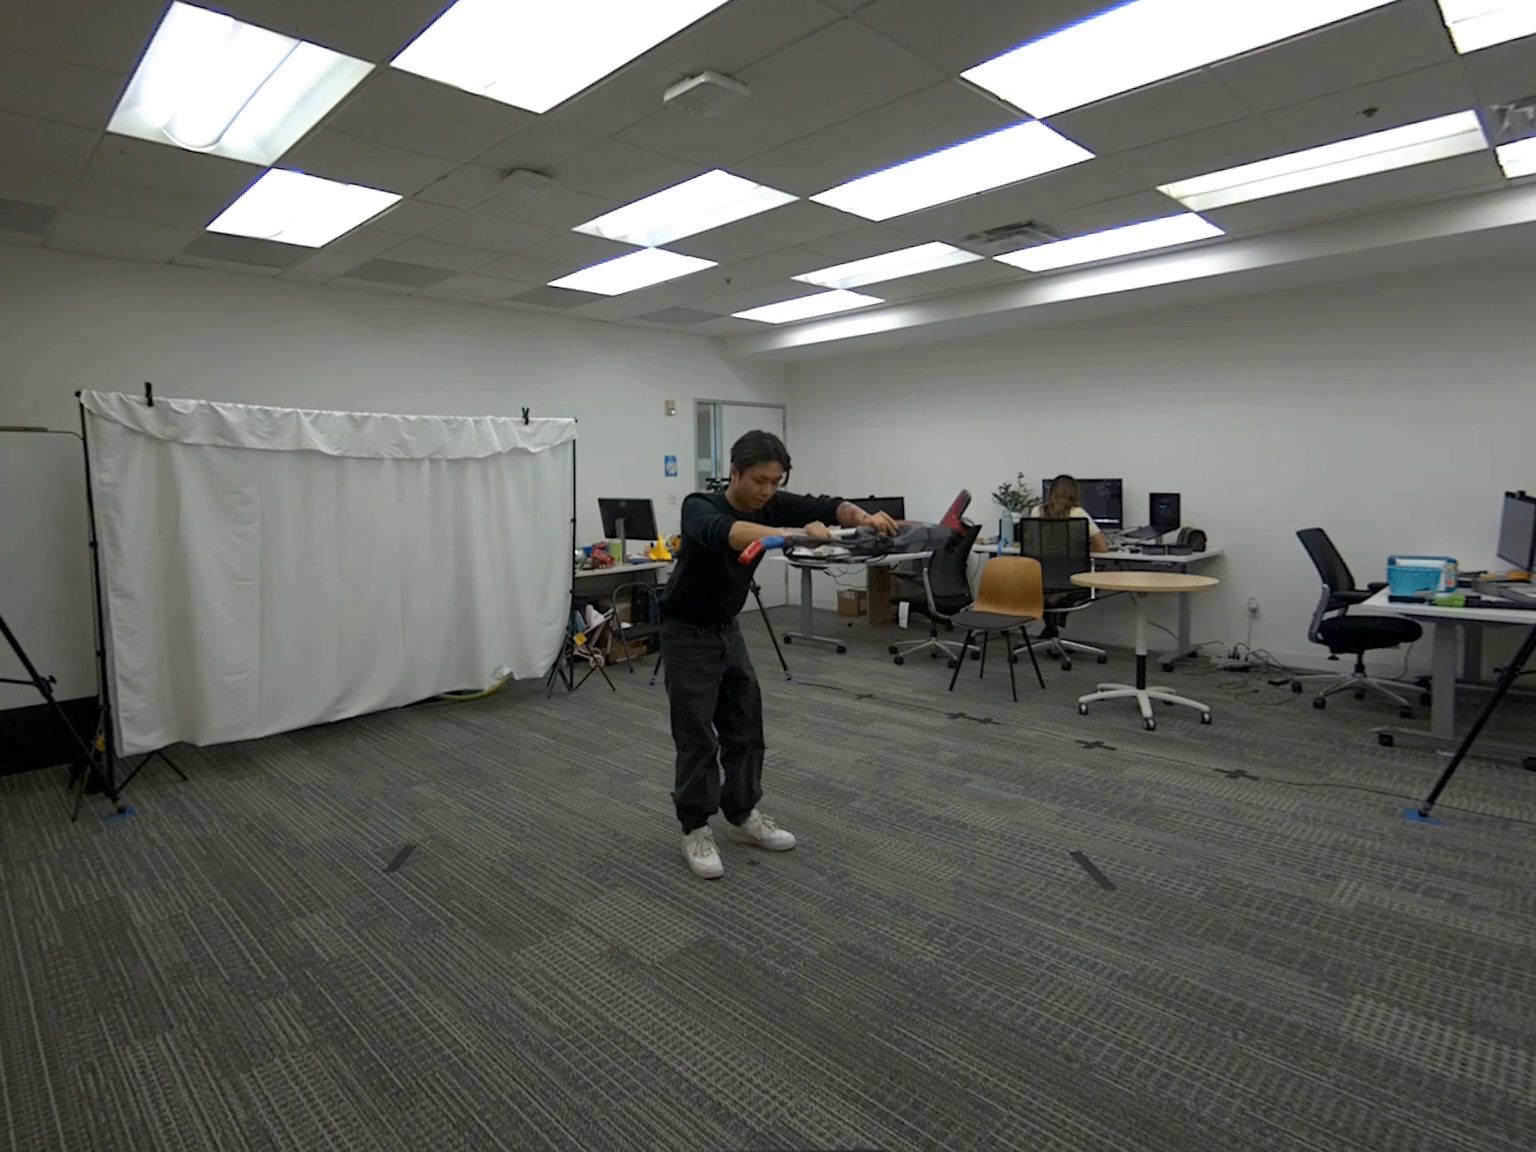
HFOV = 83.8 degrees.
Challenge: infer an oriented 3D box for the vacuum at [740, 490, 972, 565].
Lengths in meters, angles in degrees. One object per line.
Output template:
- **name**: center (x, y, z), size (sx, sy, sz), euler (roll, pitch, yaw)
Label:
- **vacuum**: center (0.285, -0.104, 2.668), size (1.023, 0.250, 0.149), euler (-9, 49, -42)
